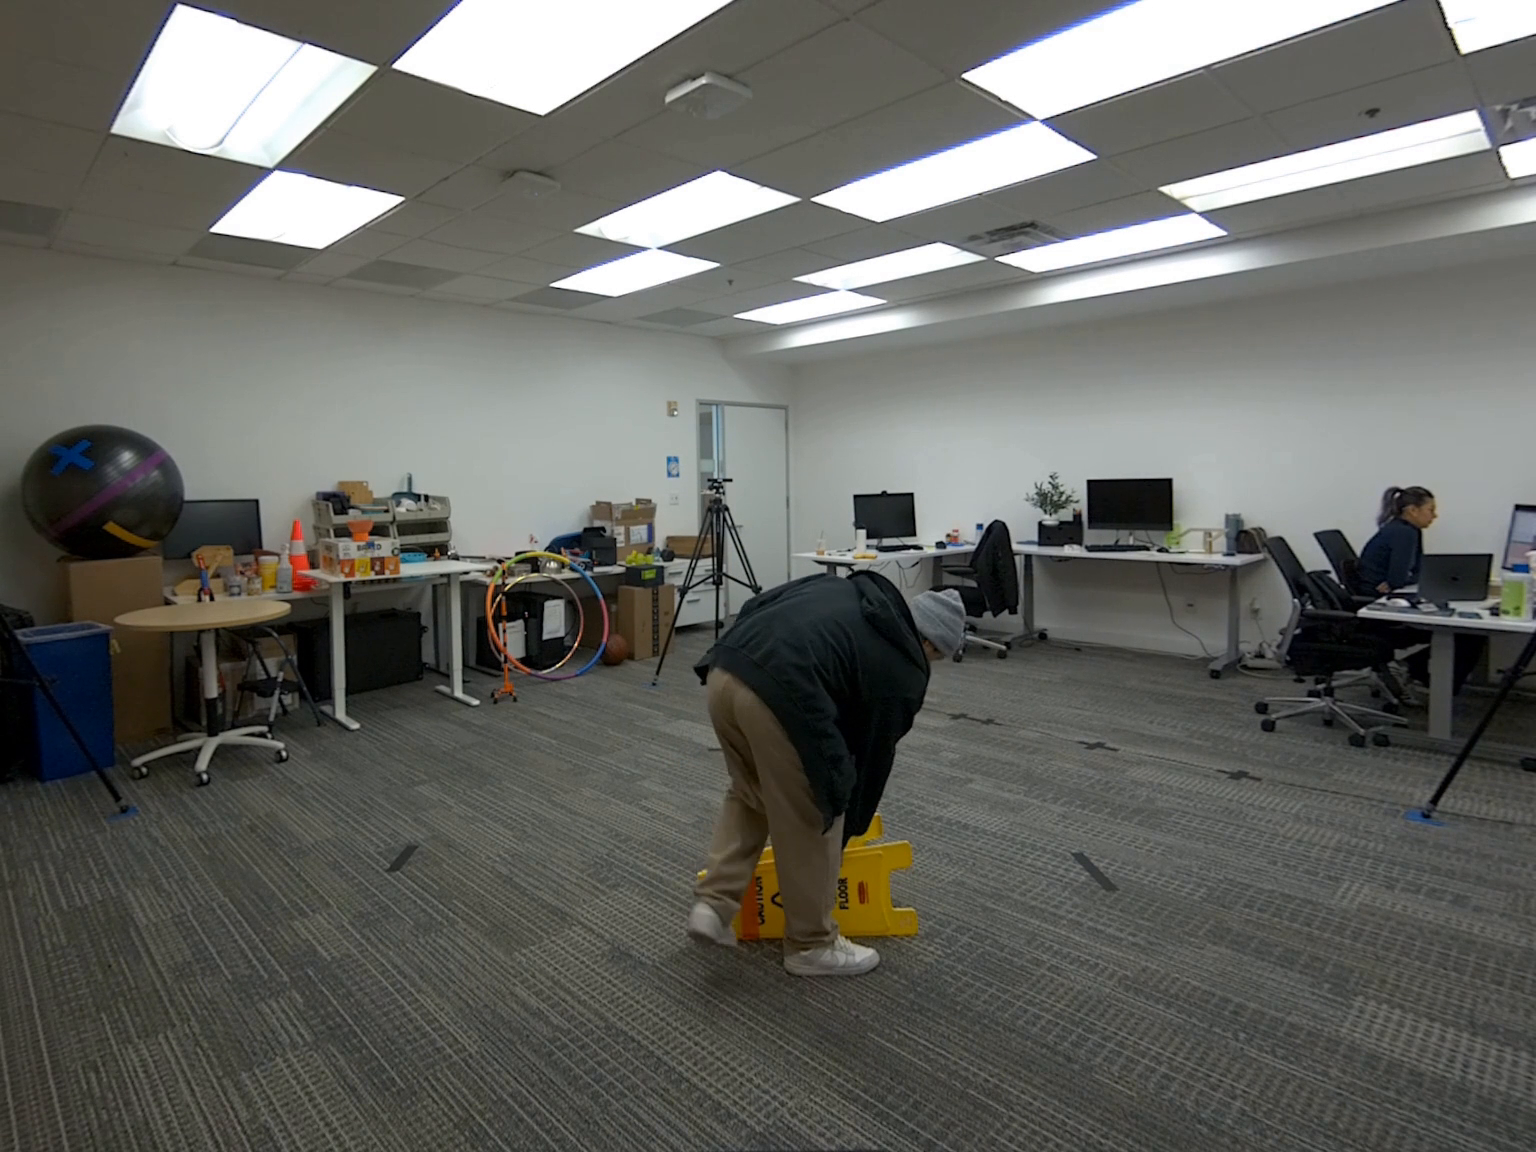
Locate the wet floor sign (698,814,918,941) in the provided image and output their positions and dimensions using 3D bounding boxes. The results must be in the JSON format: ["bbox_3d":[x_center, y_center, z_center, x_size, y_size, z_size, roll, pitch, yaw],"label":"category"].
[{"bbox_3d":[0.111,0.968,2.653,0.640,0.281,0.293,-6,4,-11],"label":"wet floor sign"}]
